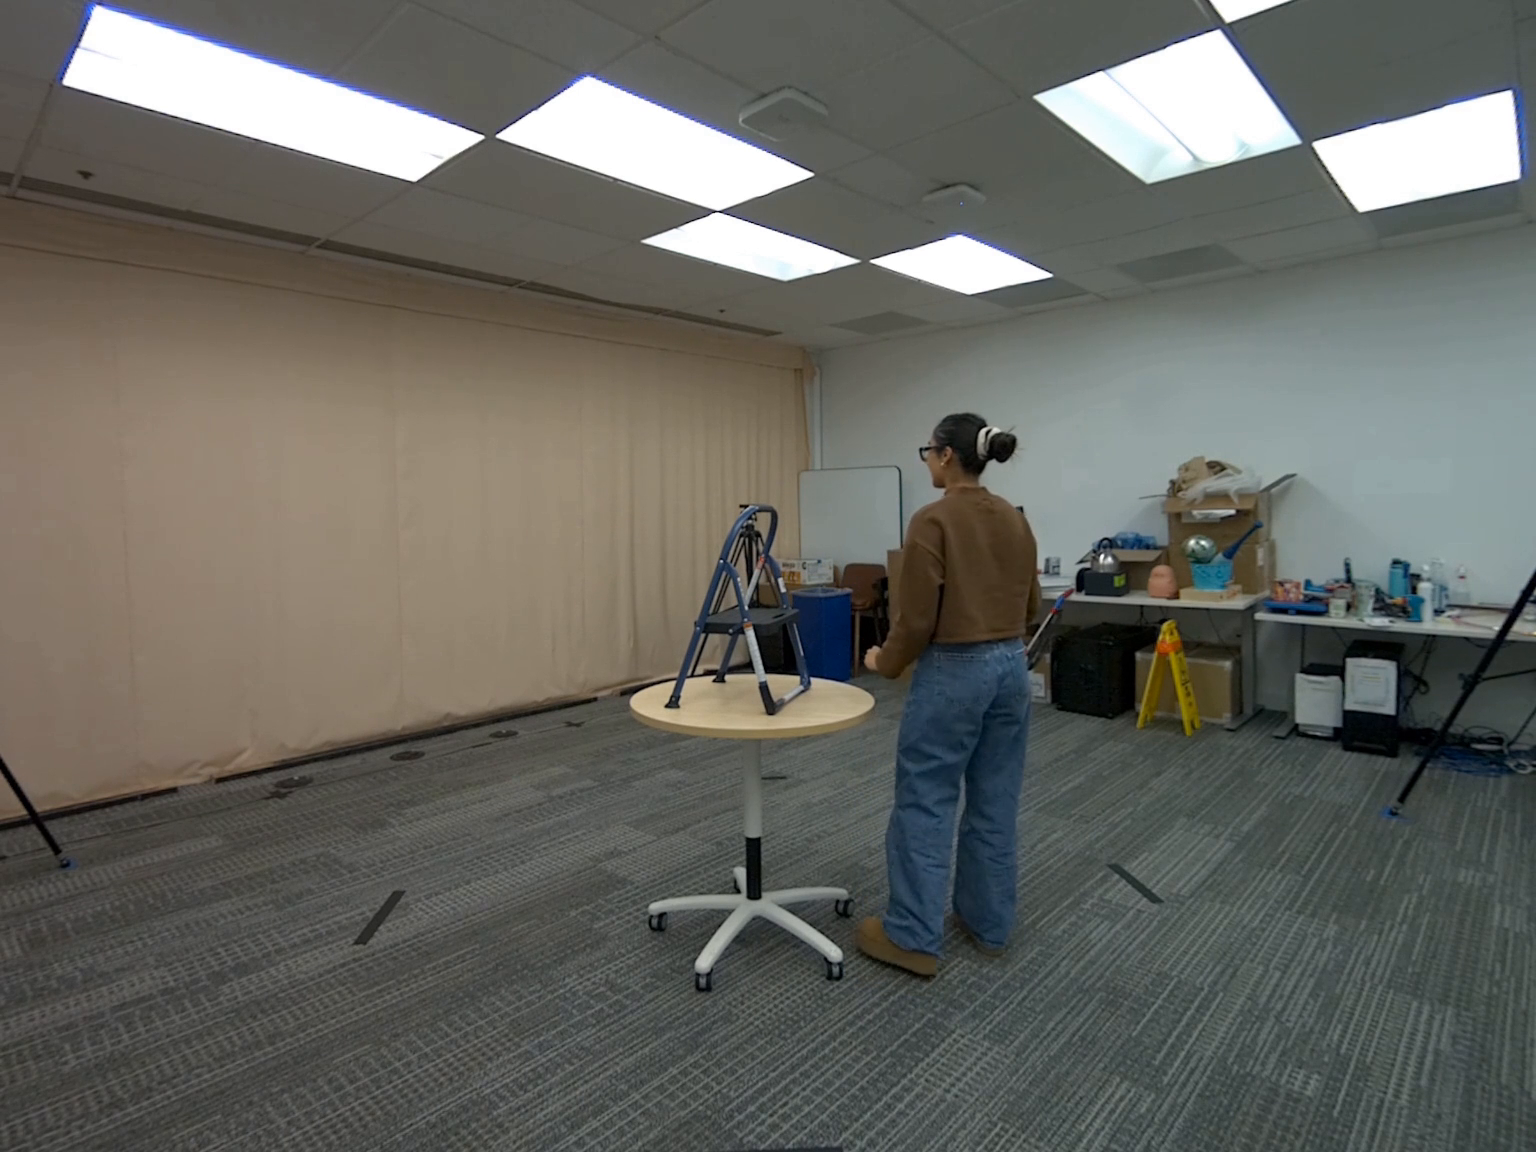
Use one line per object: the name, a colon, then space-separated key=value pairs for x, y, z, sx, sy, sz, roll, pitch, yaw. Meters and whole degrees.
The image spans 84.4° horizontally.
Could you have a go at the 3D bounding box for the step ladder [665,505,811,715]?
step ladder: x=-0.080 y=0.086 z=2.659 sx=0.357 sy=0.605 sz=0.422 roll=0 pitch=3 yaw=19
